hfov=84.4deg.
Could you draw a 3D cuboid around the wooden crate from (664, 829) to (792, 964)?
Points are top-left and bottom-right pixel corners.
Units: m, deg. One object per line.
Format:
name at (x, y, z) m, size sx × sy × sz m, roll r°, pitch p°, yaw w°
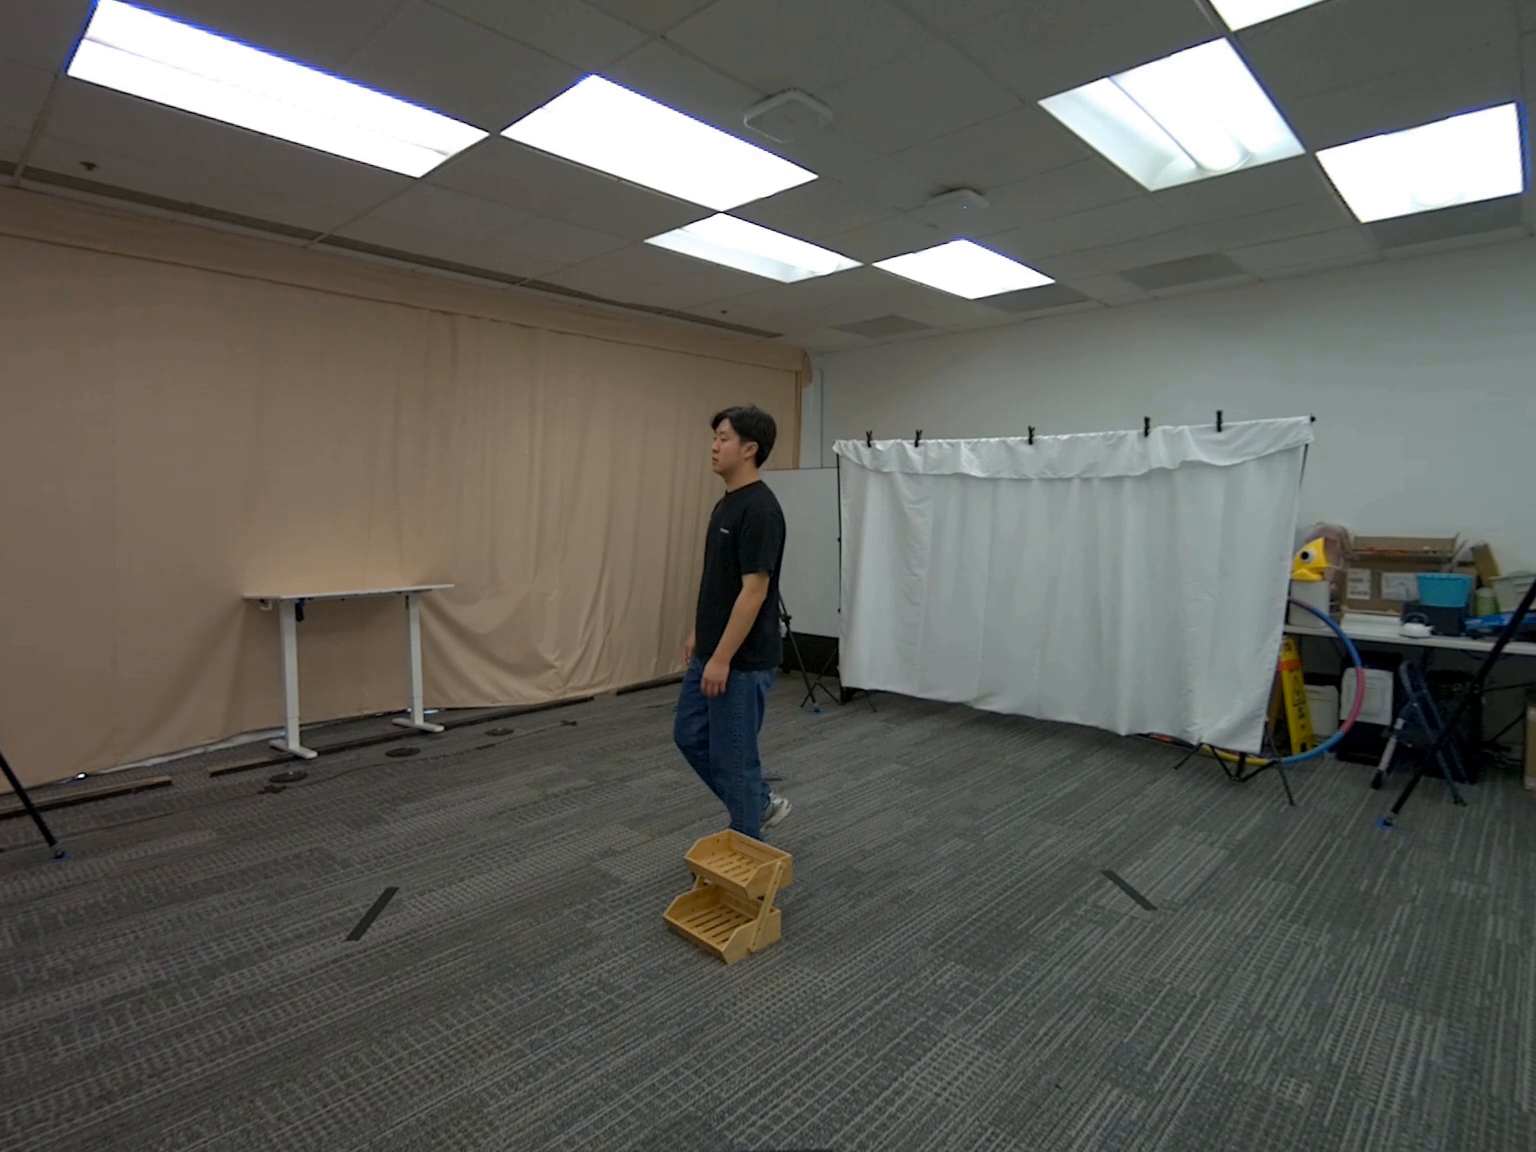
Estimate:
wooden crate at (-0.134, 1.029, 2.749) m, size 0.293 × 0.273 × 0.335 m, roll -3°, pitch 4°, yaw -44°
